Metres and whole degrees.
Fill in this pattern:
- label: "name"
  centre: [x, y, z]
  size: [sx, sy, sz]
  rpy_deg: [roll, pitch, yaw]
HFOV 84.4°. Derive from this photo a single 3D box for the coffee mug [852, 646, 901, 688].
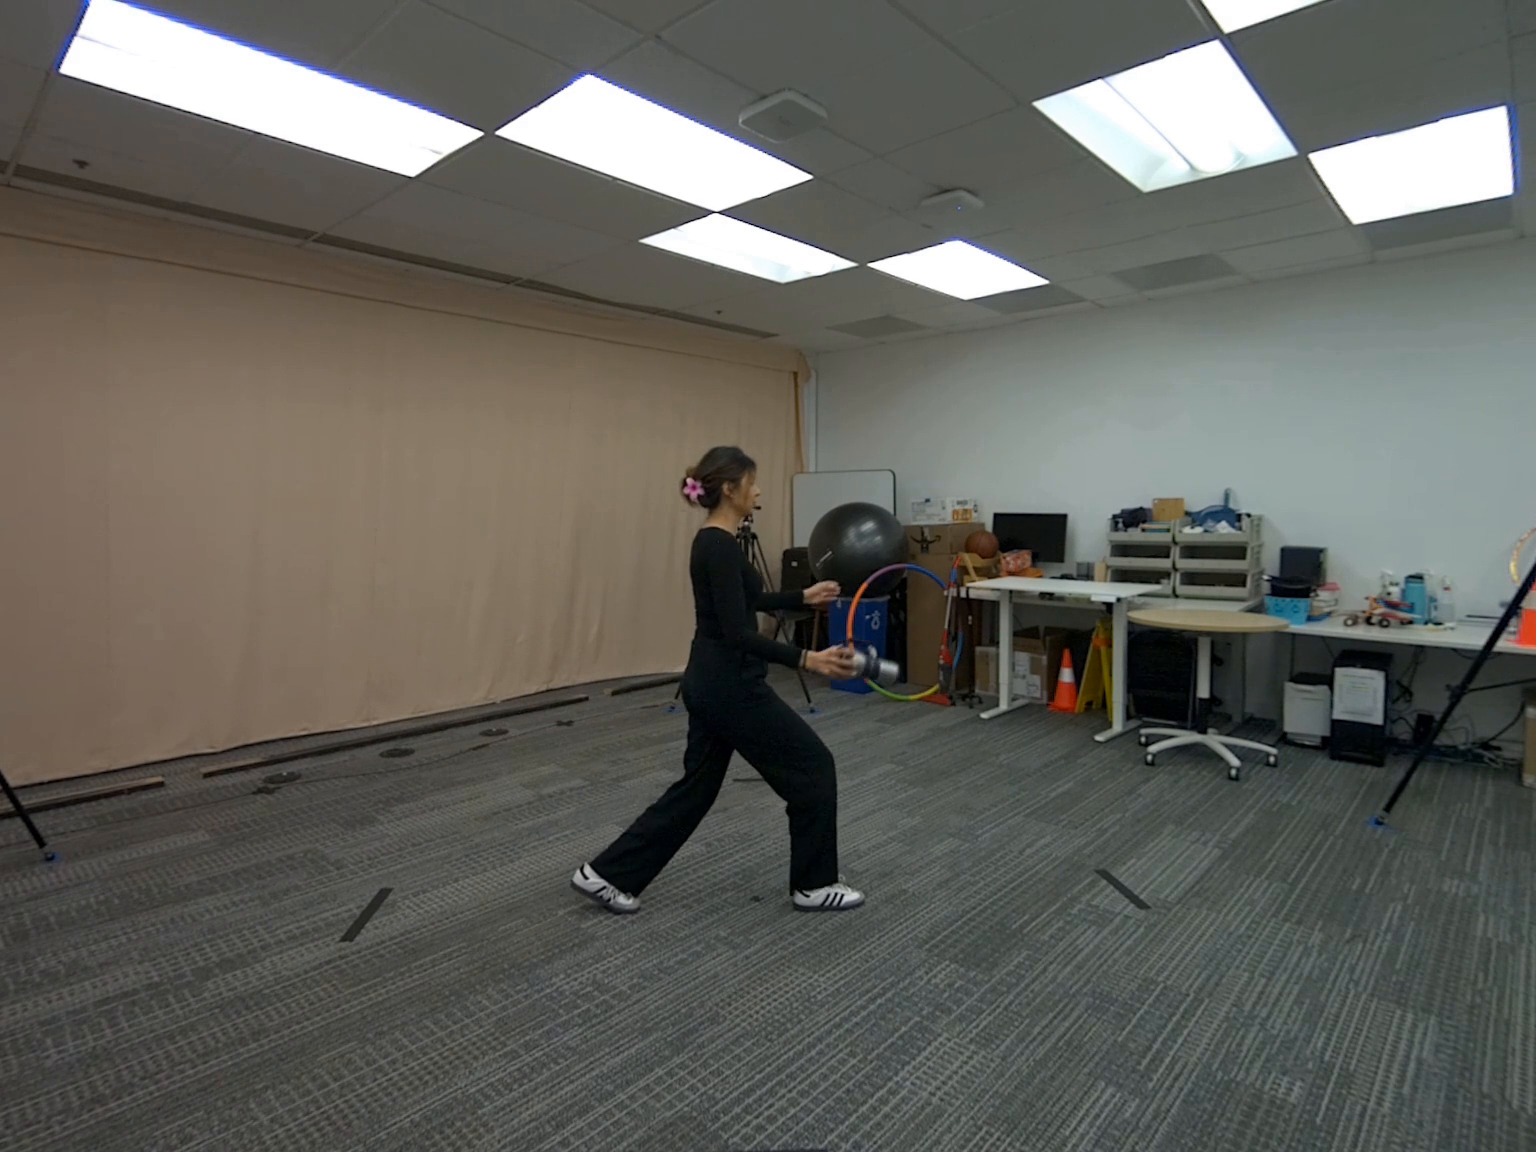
- label: "coffee mug"
  centre: [0.384, 0.299, 2.541]
  size: [0.199, 0.122, 0.090]
  rpy_deg: [14, 1, -19]
